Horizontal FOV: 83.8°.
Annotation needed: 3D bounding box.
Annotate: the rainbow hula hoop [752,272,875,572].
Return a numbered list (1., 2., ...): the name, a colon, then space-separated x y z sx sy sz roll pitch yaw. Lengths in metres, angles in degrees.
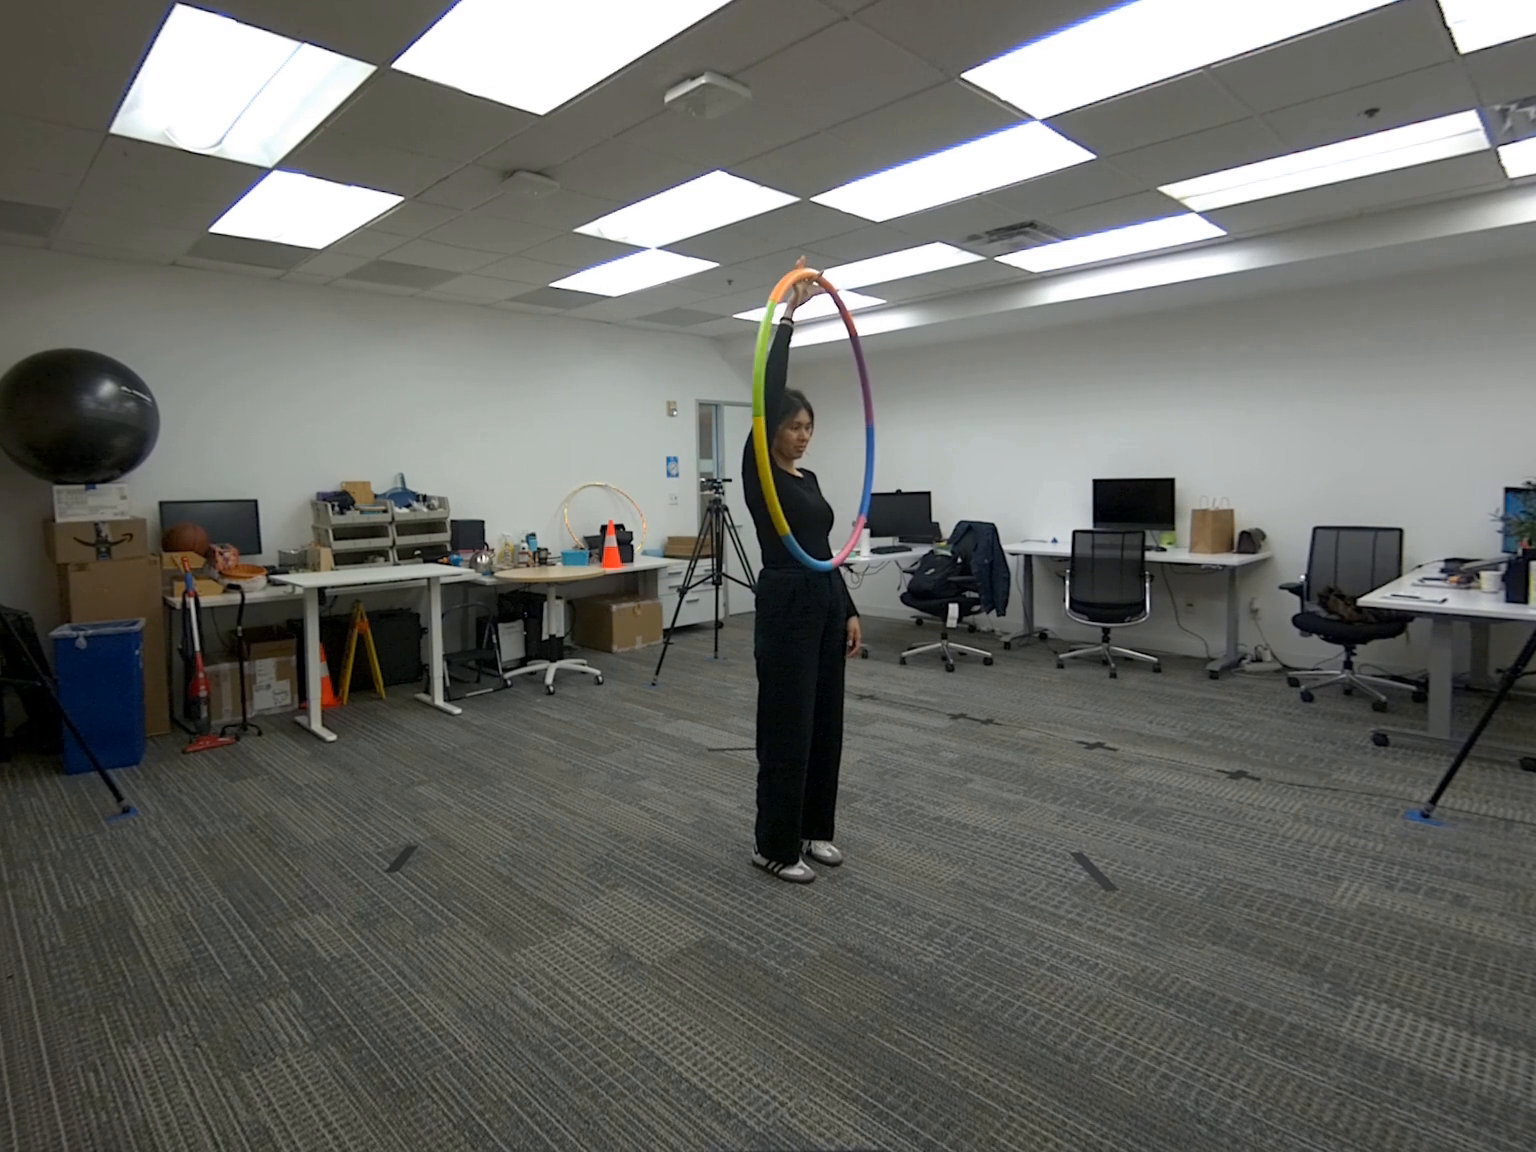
1. rainbow hula hoop: 0.182 -0.517 2.854 0.053 0.983 0.966 -2 4 26
